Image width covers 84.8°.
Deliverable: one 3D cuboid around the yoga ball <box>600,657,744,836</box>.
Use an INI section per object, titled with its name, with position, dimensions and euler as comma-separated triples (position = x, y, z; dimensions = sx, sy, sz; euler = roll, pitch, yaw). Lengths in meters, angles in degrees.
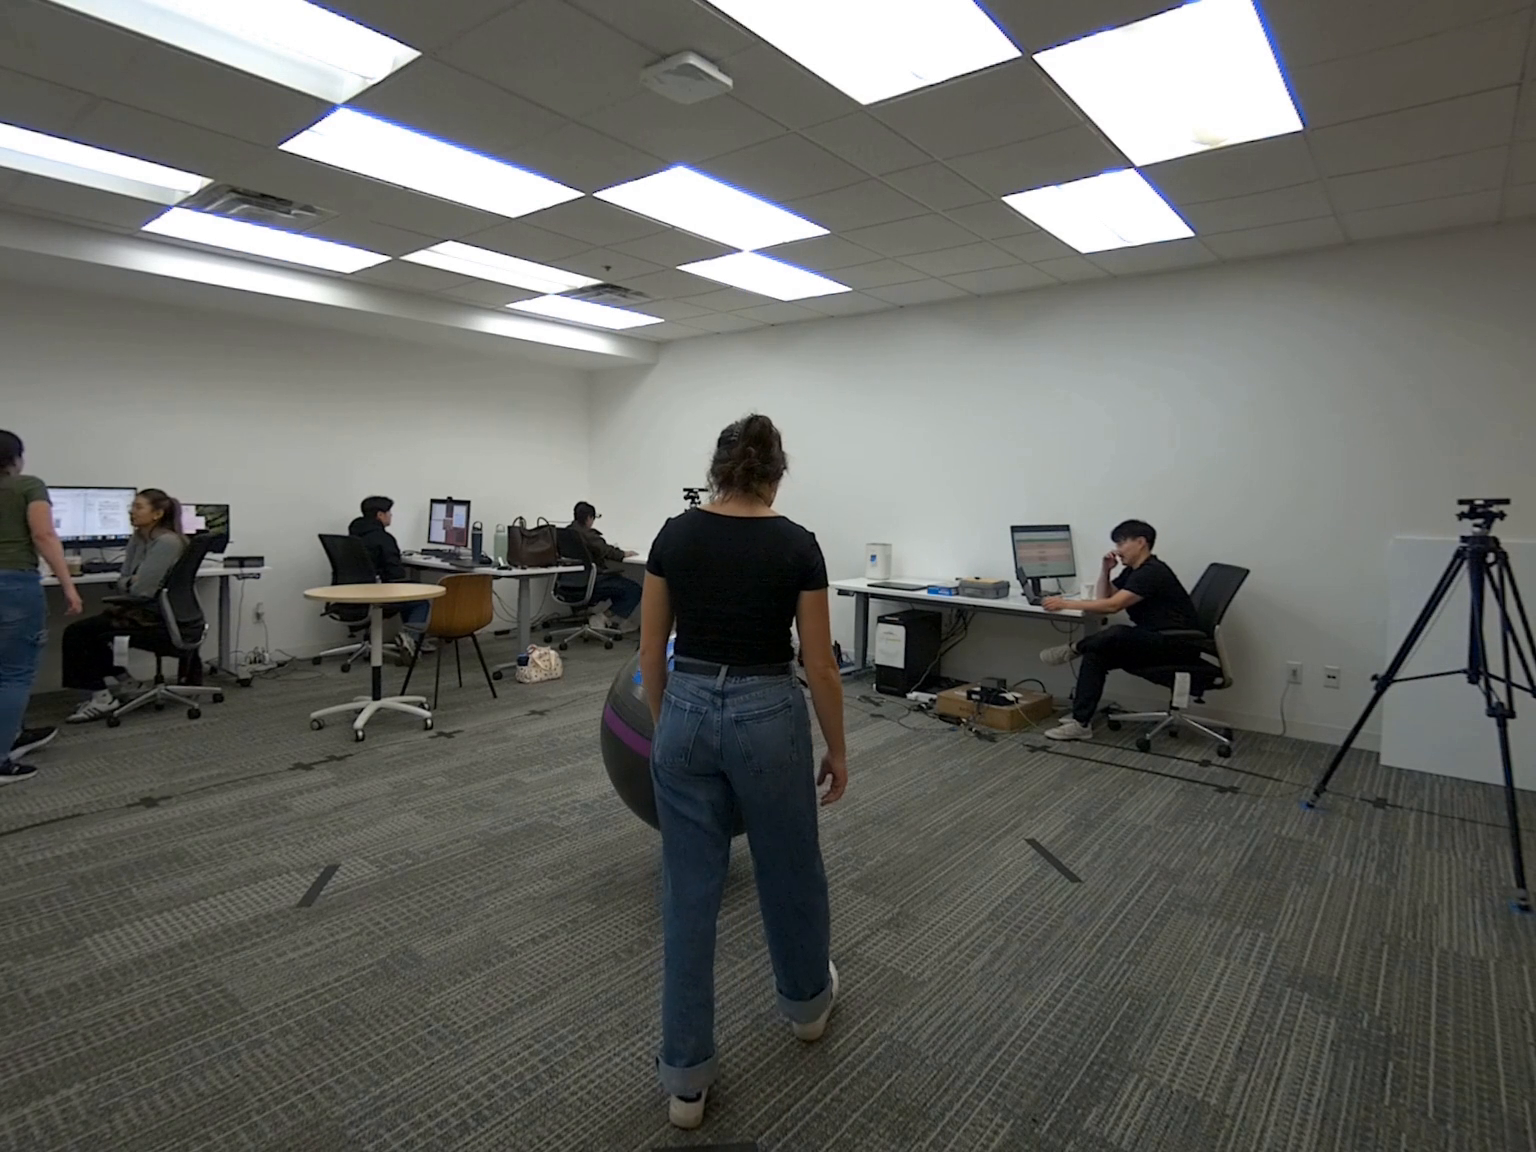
[yoga ball]
position = -0.232, 0.554, 3.078
dimensions = 0.757, 0.756, 0.762
euler = 1, 4, -2
